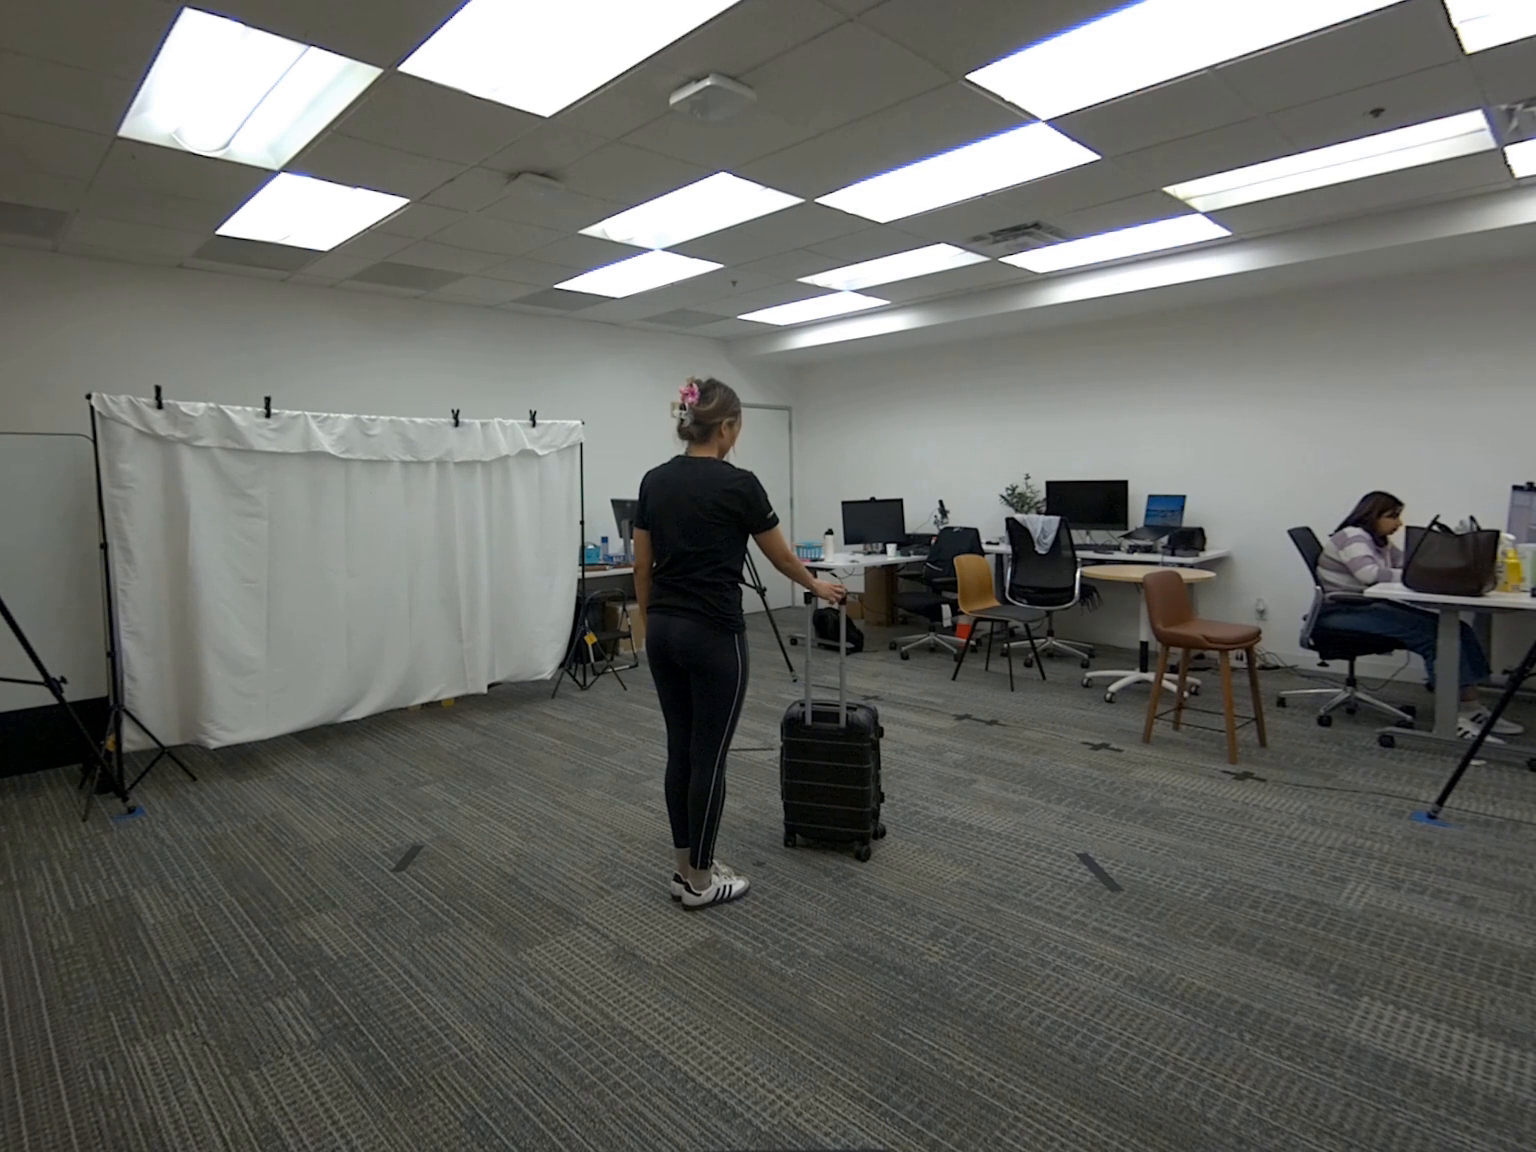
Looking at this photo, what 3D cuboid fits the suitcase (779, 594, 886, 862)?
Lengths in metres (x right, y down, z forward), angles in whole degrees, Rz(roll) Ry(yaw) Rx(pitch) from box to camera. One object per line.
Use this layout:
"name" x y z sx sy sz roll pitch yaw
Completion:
"suitcase" 0.245 0.551 3.268 0.391 0.977 0.253 0 1 18
